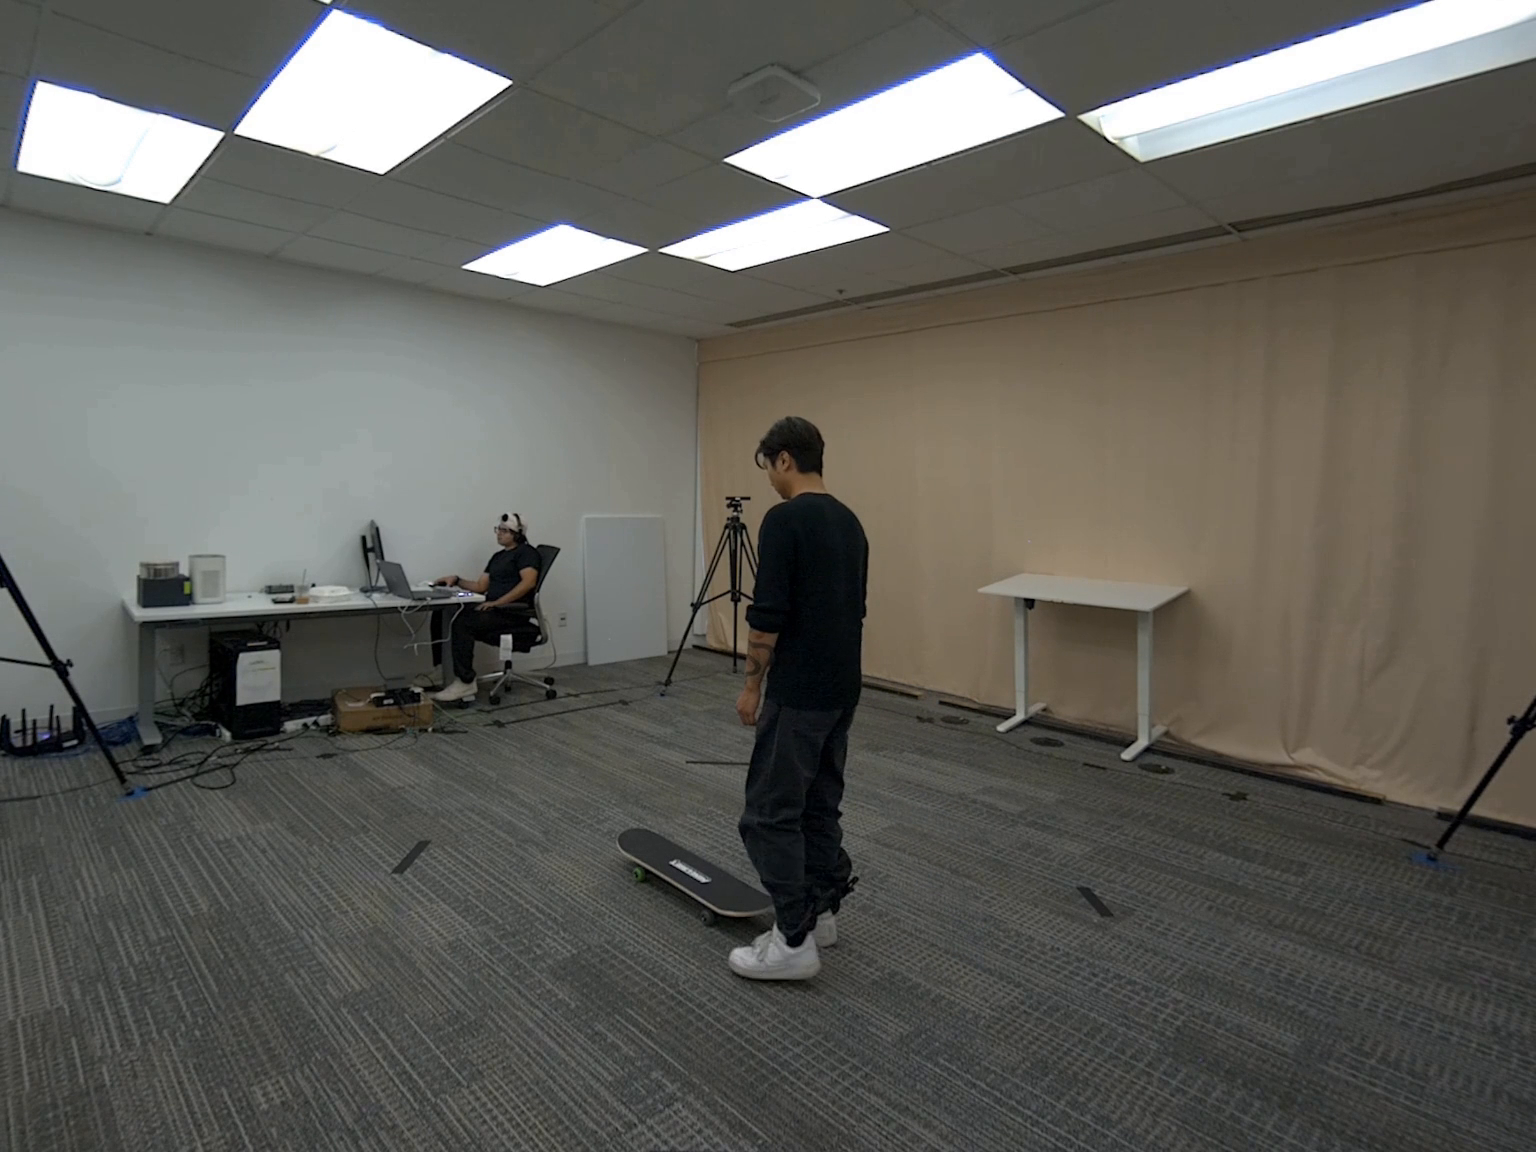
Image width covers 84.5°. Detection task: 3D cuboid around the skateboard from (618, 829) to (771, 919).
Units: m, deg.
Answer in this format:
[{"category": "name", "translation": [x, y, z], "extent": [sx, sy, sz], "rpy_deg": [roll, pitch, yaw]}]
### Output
[{"category": "skateboard", "translation": [-0.287, 1.066, 2.944], "extent": [0.189, 0.110, 0.806], "rpy_deg": [-2, 7, -41]}]
